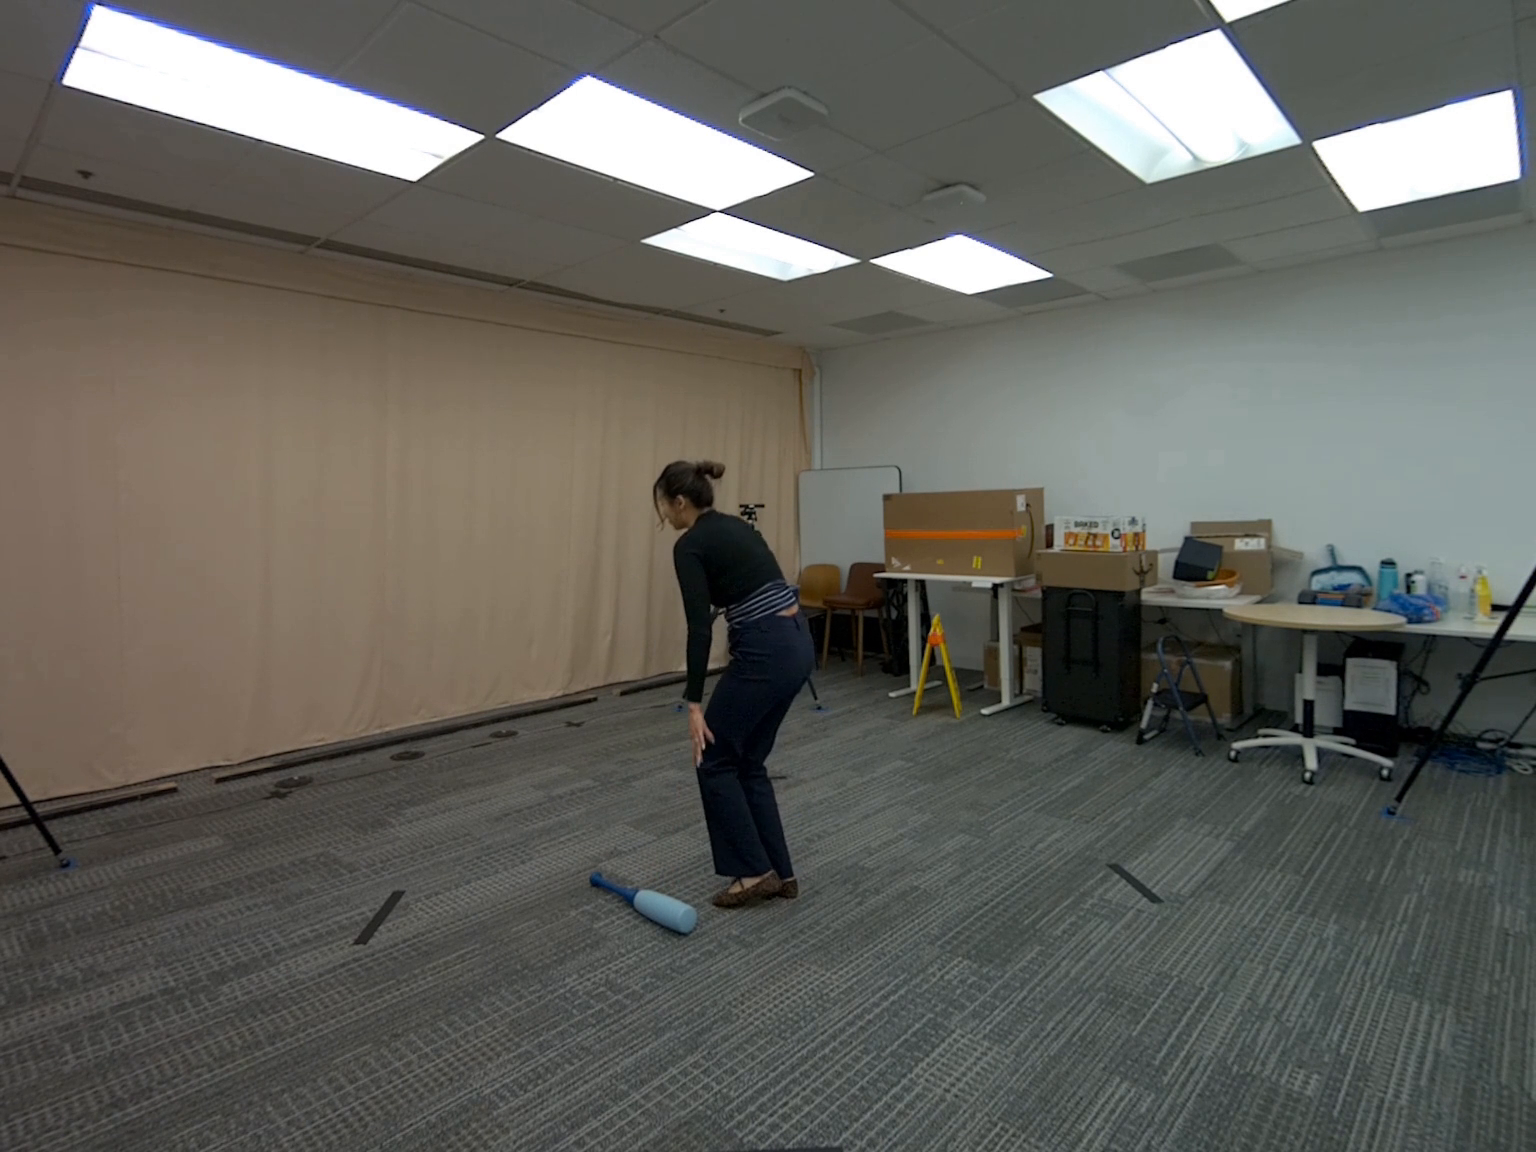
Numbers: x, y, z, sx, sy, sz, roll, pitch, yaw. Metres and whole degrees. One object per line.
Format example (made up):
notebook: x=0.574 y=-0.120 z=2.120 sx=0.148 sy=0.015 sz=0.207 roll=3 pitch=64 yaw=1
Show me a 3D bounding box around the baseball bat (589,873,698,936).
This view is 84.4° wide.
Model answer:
baseball bat: x=-0.447 y=1.119 z=2.916 sx=0.086 sy=0.089 sz=0.560 roll=-5 pitch=3 yaw=-44
